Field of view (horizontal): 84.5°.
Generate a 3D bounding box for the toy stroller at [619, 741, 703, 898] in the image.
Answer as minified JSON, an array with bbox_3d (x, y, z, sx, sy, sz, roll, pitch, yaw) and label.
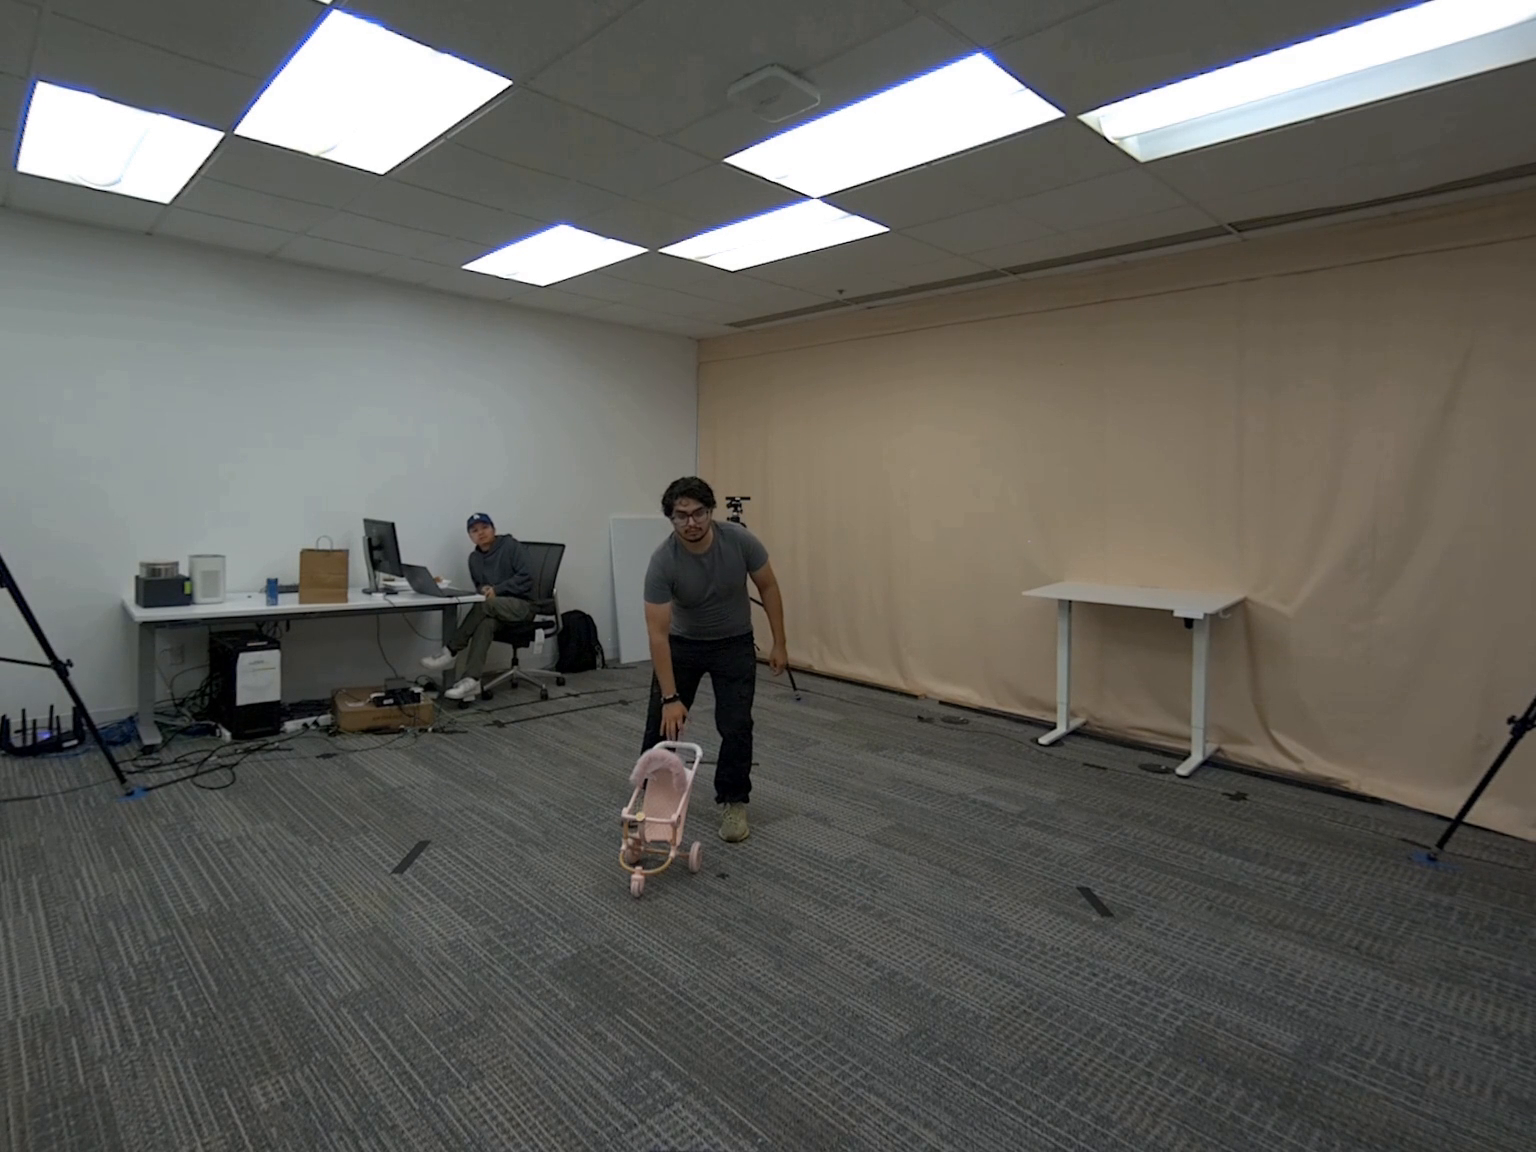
[{"bbox_3d":[-0.412,0.881,3.093,0.286,0.539,0.333,2,-12,19],"label":"toy stroller"}]
